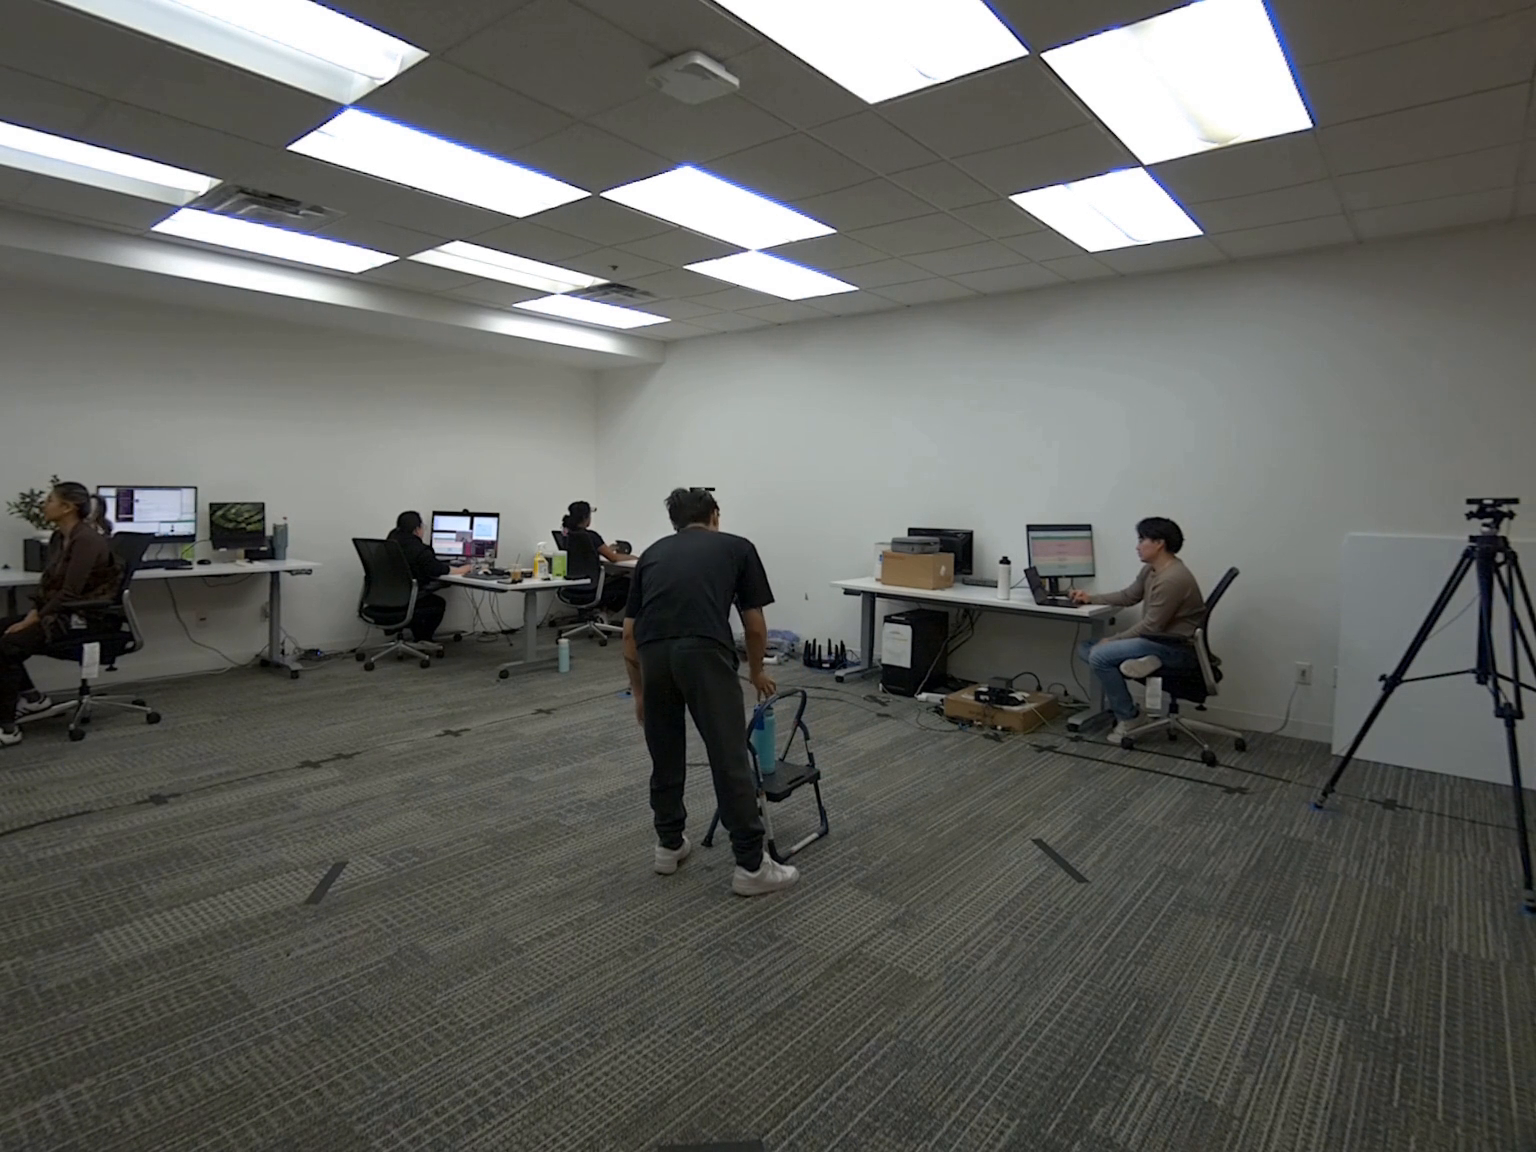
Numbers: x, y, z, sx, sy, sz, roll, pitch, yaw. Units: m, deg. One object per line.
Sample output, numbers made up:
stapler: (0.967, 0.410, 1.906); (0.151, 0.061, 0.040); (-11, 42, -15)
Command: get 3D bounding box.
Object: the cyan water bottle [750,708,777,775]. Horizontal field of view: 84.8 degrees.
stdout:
cyan water bottle: (-0.024, 0.640, 3.412); (0.092, 0.283, 0.092); (1, 2, -2)
